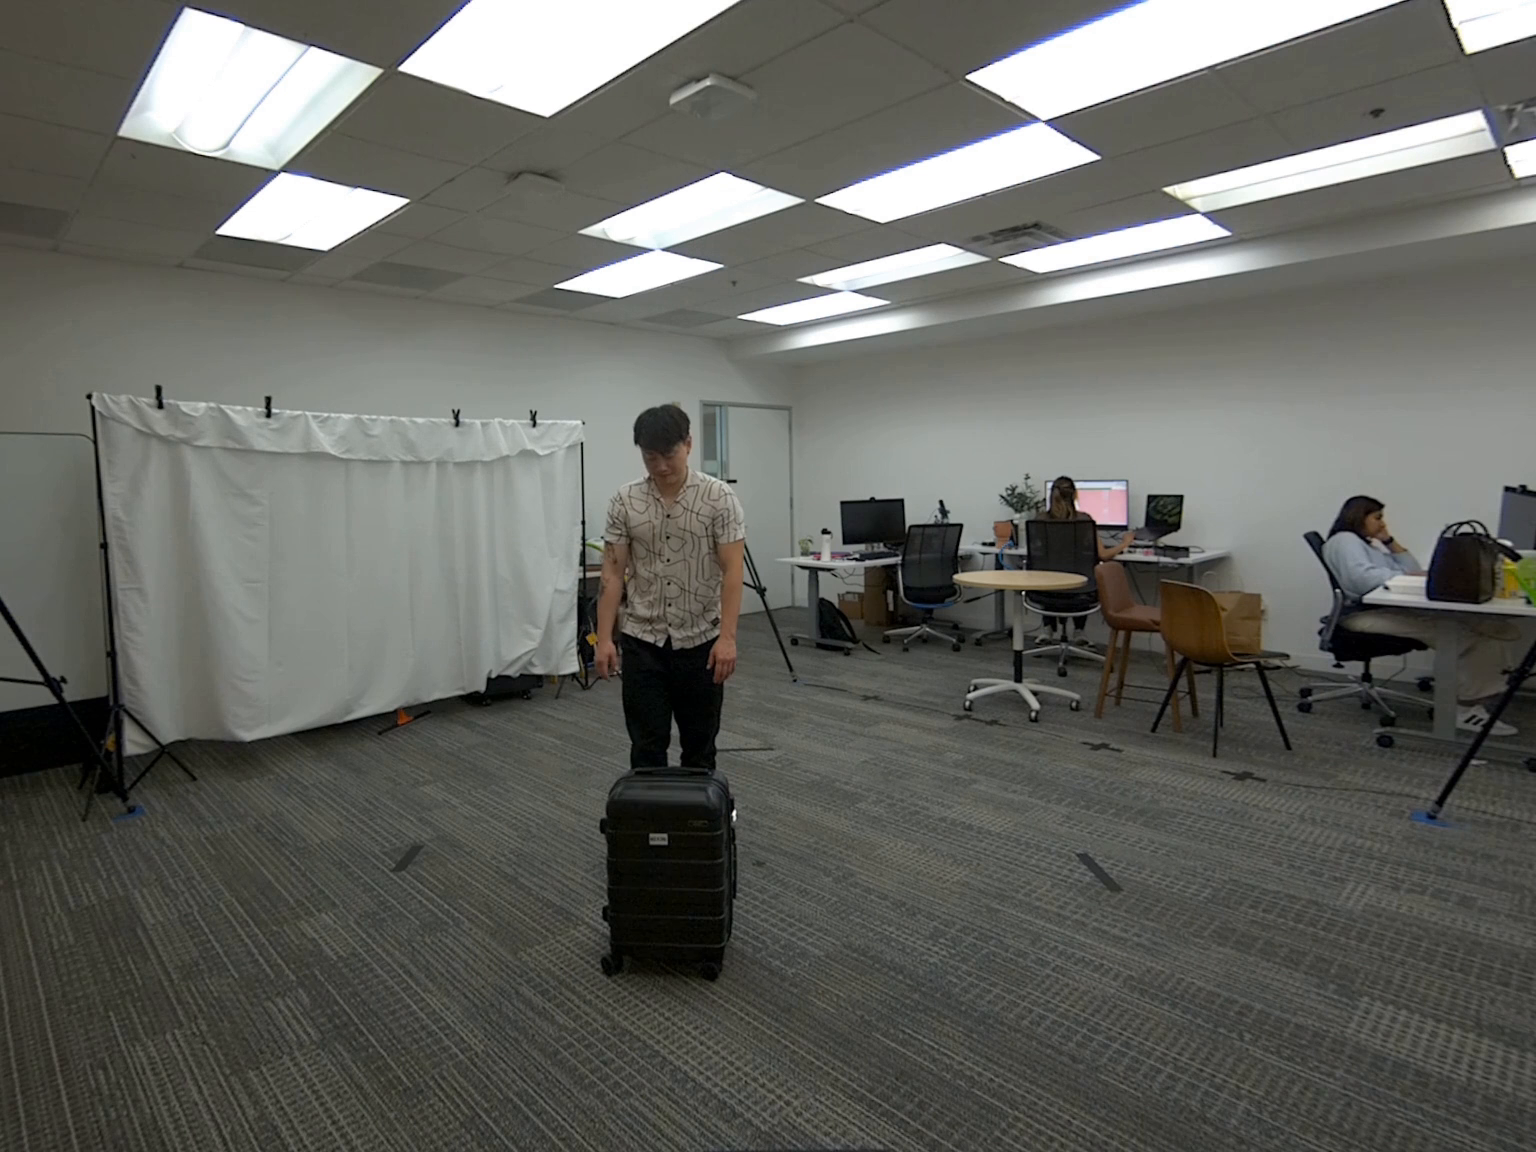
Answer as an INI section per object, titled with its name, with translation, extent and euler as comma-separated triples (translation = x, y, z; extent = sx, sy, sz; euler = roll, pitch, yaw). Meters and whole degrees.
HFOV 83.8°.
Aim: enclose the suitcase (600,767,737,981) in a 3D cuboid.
[suitcase]
translation = -0.283, 0.850, 2.504
extent = 0.377, 0.547, 0.248
euler = 0, 5, 5
